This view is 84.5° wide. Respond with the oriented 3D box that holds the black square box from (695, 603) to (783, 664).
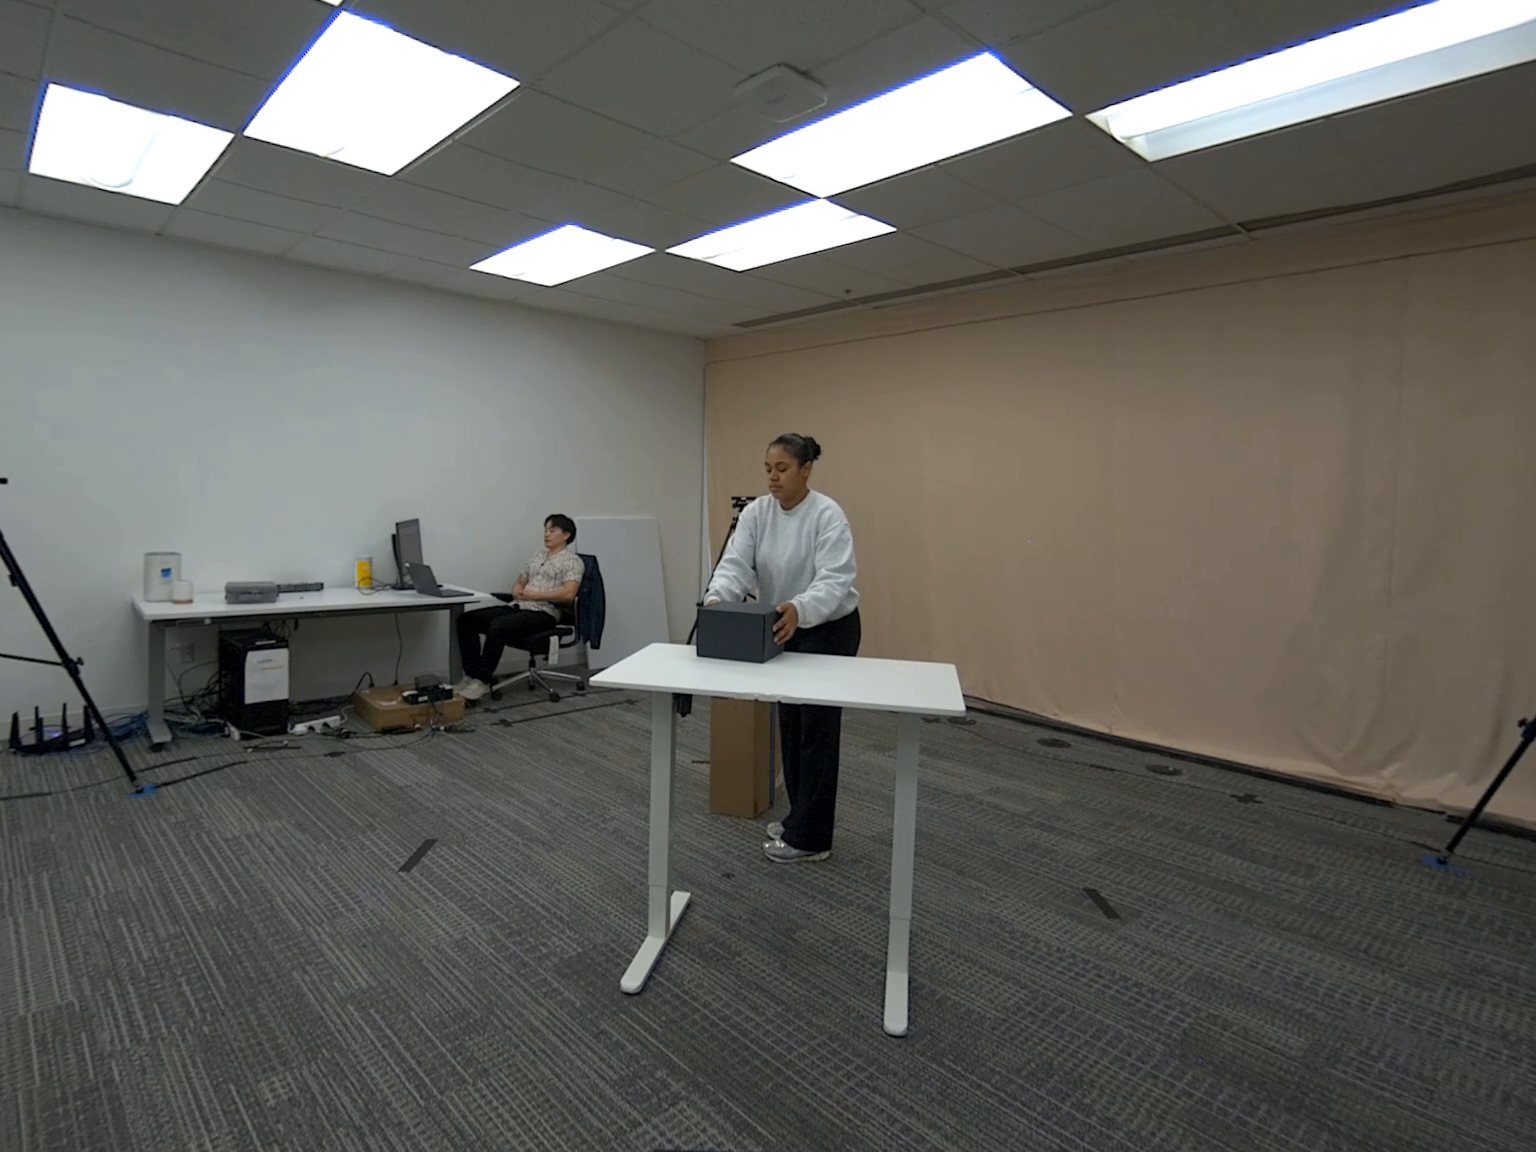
[{"bbox_3d":[-0.095,0.176,2.726,0.231,0.155,0.214,3,5,19],"label":"black square box"}]
